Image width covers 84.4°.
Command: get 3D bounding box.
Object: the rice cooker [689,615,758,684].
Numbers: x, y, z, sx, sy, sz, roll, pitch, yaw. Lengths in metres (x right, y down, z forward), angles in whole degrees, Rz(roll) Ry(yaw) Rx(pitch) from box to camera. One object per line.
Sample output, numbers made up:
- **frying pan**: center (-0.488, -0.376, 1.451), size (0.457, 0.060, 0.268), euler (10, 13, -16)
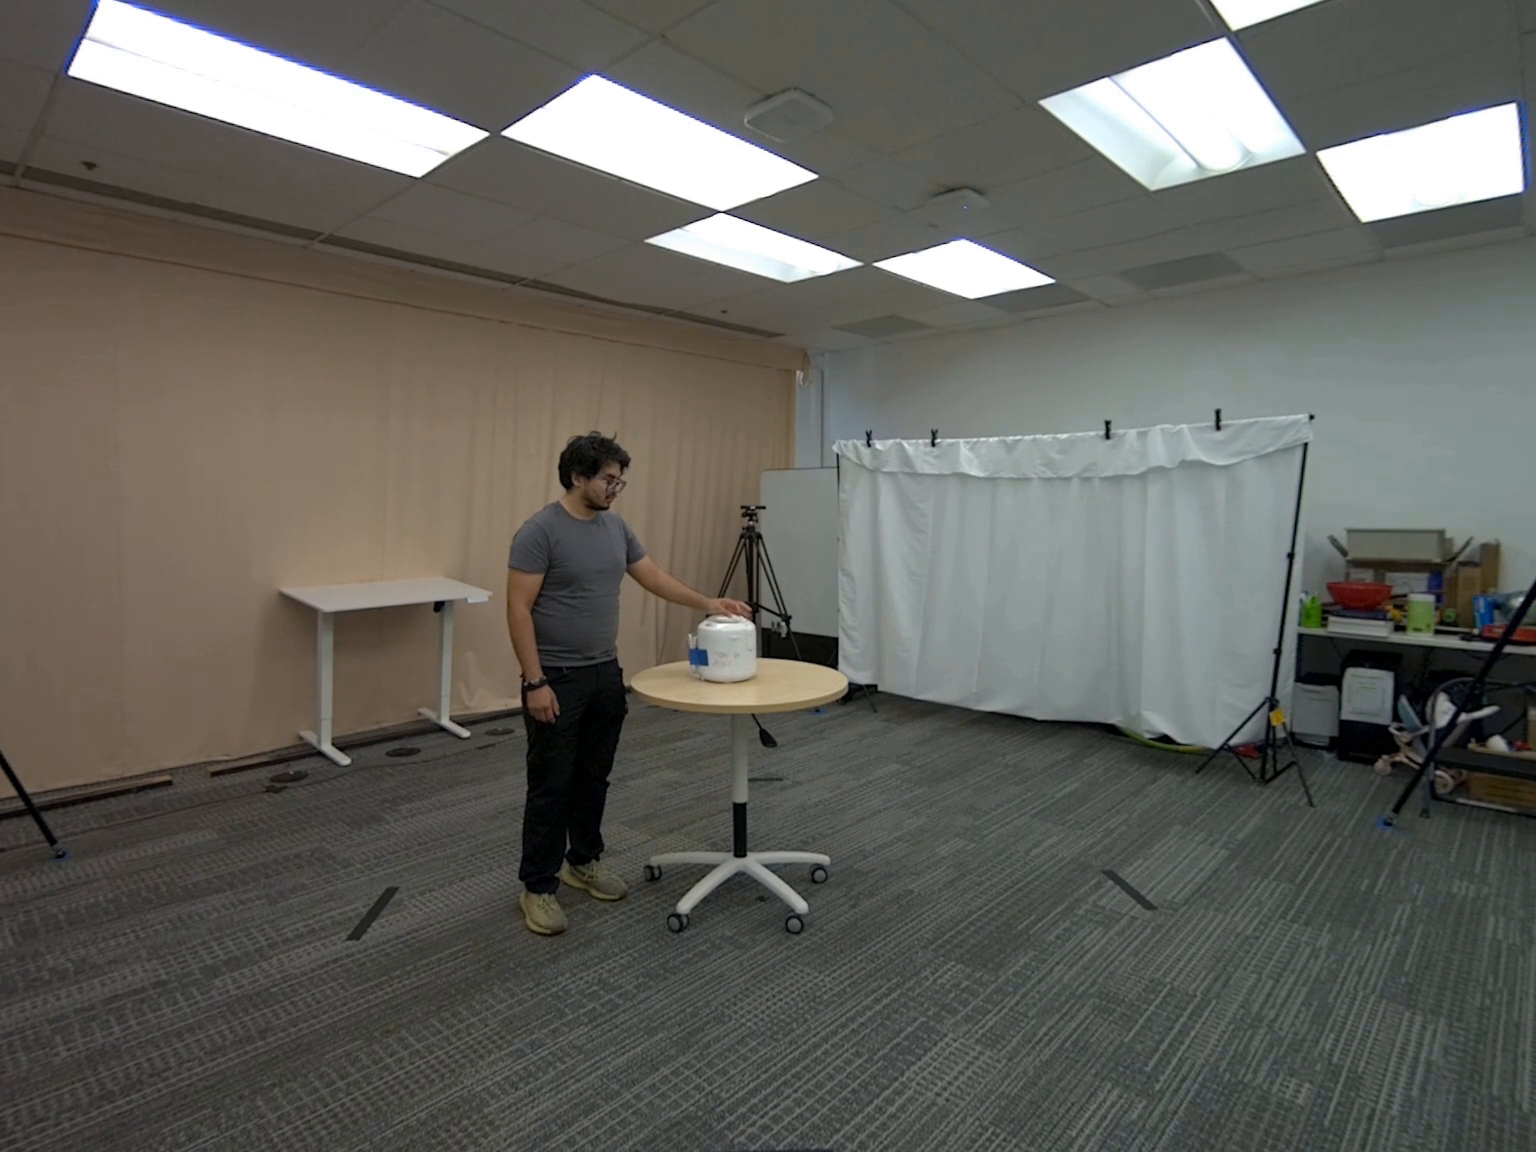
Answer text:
- **rice cooker**: center (-0.144, 0.247, 2.982), size (0.227, 0.232, 0.211), euler (3, 6, 36)
